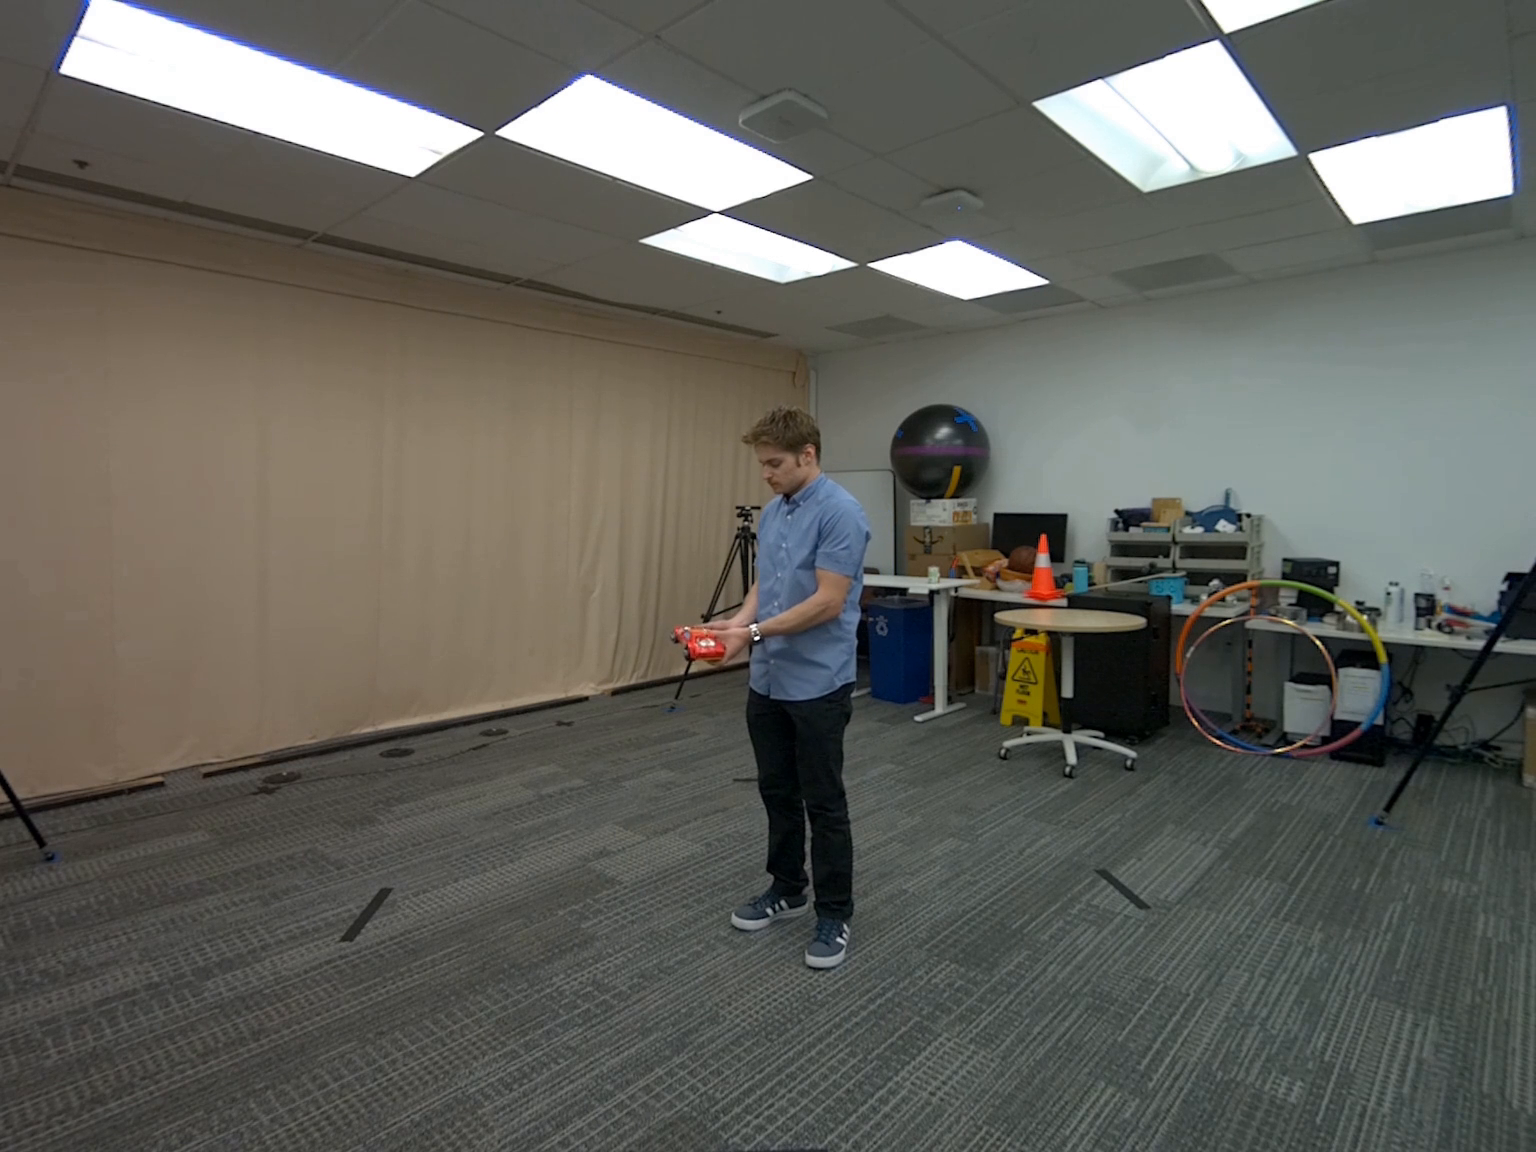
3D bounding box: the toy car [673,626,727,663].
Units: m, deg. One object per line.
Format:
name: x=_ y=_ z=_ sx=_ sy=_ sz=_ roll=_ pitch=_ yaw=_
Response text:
toy car: x=-0.205 y=0.207 z=2.575 sx=0.128 sy=0.083 sz=0.260 roll=-2 pitch=6 yaw=-21
